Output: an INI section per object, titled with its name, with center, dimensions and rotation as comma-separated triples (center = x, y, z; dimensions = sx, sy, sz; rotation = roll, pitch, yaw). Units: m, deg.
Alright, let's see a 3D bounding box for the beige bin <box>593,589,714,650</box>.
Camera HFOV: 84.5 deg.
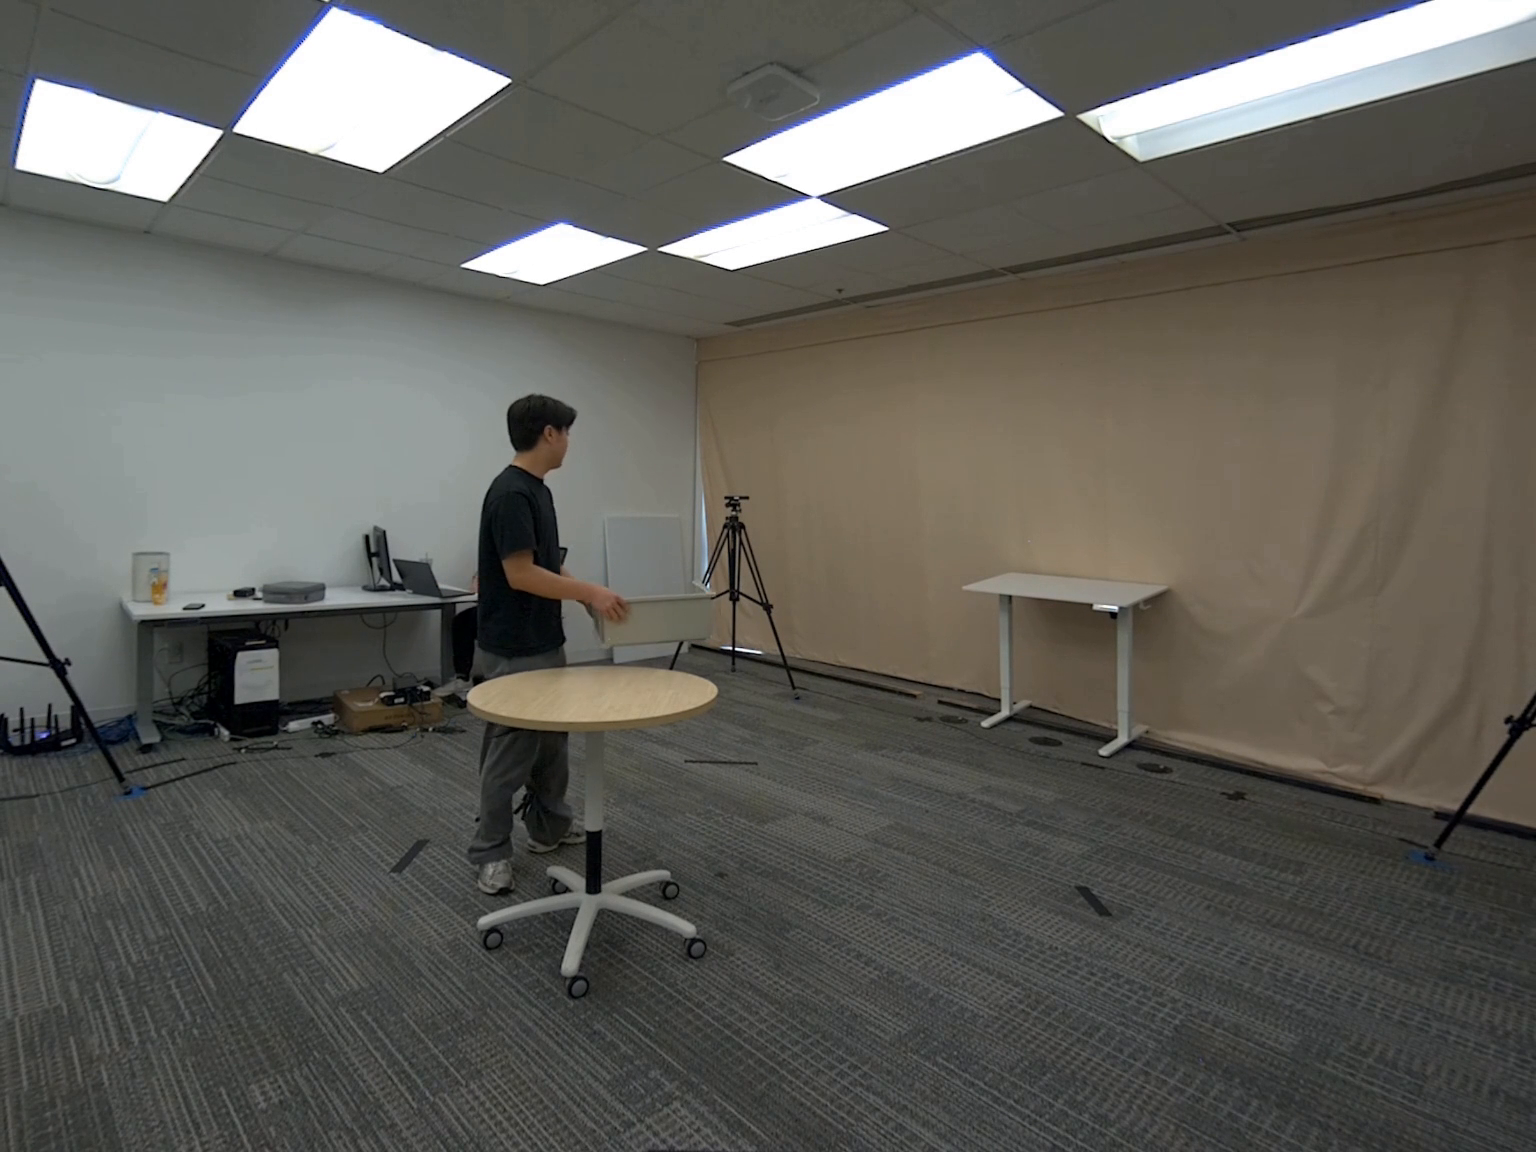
[beige bin]
center = -0.438, 0.137, 3.167
dimensions = 0.419, 0.188, 0.383
rotation = -3, 10, -12
